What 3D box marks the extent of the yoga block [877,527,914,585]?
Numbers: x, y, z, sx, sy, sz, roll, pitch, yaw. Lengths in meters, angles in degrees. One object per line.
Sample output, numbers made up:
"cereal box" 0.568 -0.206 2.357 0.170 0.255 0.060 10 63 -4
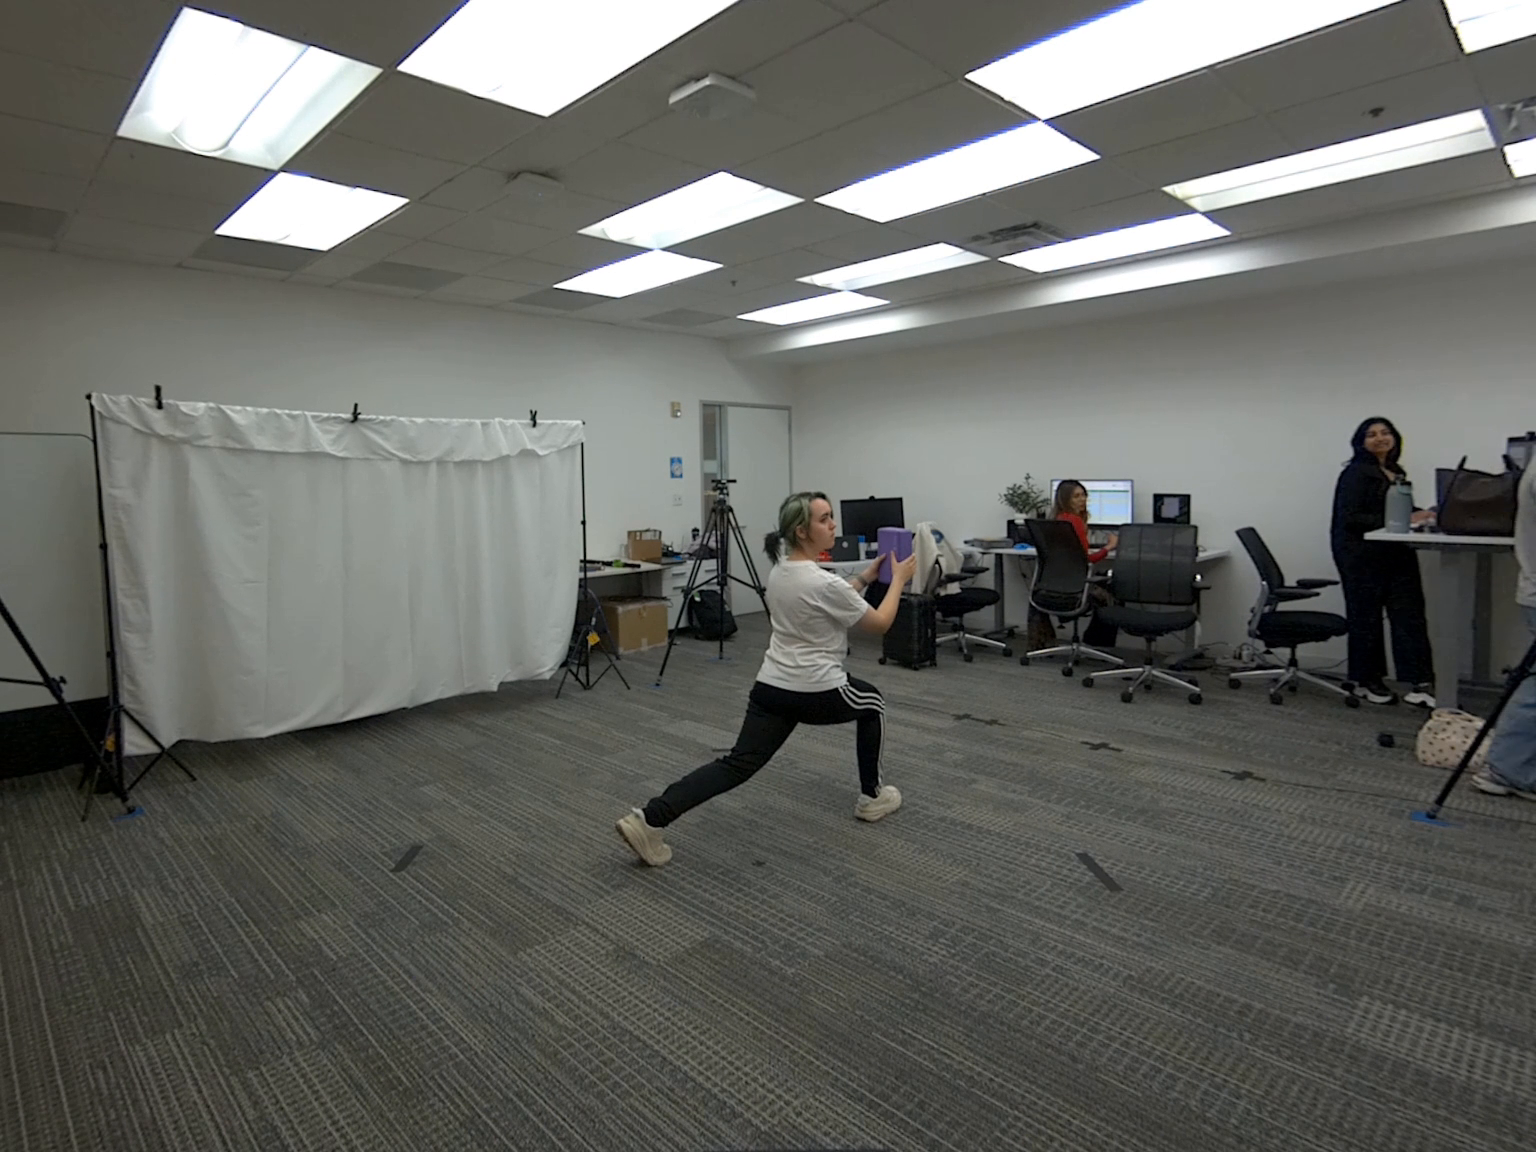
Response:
"yoga block" 0.531 -0.083 3.565 0.075 0.228 0.153 -6 8 -28
